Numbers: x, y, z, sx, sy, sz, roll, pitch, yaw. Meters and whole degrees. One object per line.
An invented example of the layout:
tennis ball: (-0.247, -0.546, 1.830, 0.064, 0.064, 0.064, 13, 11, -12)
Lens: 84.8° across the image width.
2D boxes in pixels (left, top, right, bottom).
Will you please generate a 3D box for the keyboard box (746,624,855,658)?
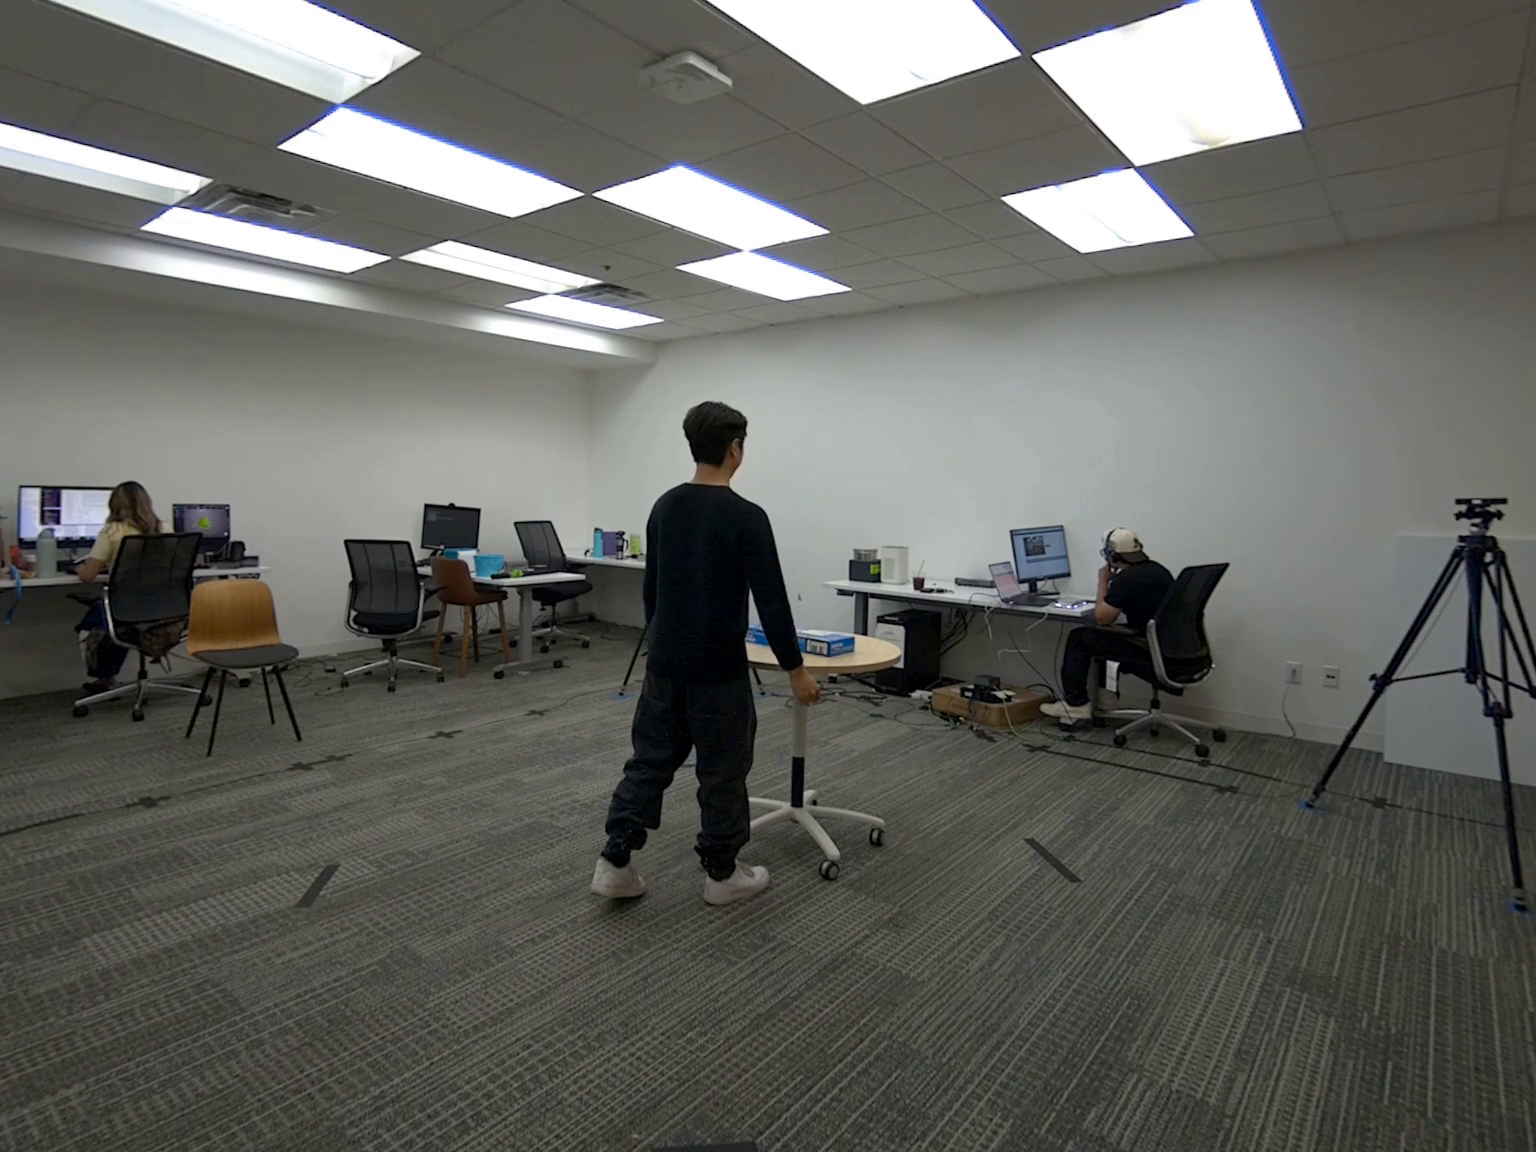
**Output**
keyboard box: (0.098, 0.241, 3.326, 0.452, 0.059, 0.171, 7, 8, 40)
